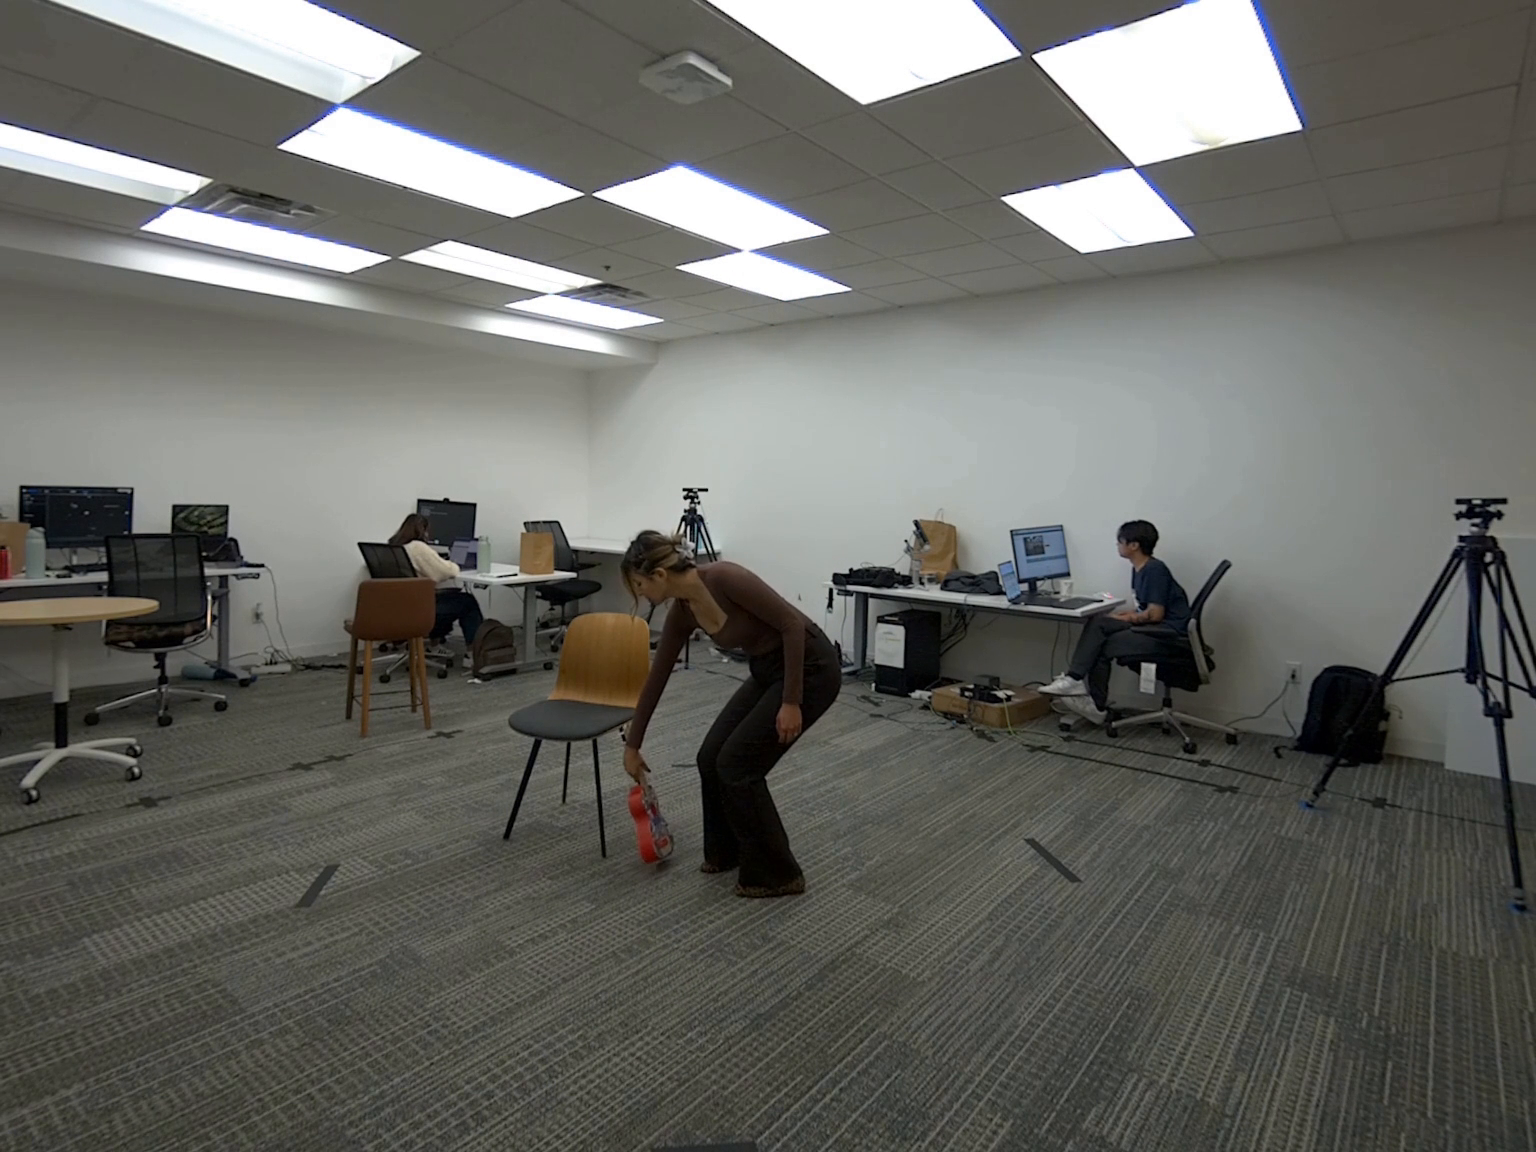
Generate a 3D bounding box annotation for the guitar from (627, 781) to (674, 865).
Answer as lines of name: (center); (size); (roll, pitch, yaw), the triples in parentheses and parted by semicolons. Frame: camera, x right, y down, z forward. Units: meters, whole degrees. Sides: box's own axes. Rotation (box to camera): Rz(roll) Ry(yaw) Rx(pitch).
guitar: (-0.472, 0.811, 3.199); (0.071, 0.510, 0.187); (-22, -20, 14)
